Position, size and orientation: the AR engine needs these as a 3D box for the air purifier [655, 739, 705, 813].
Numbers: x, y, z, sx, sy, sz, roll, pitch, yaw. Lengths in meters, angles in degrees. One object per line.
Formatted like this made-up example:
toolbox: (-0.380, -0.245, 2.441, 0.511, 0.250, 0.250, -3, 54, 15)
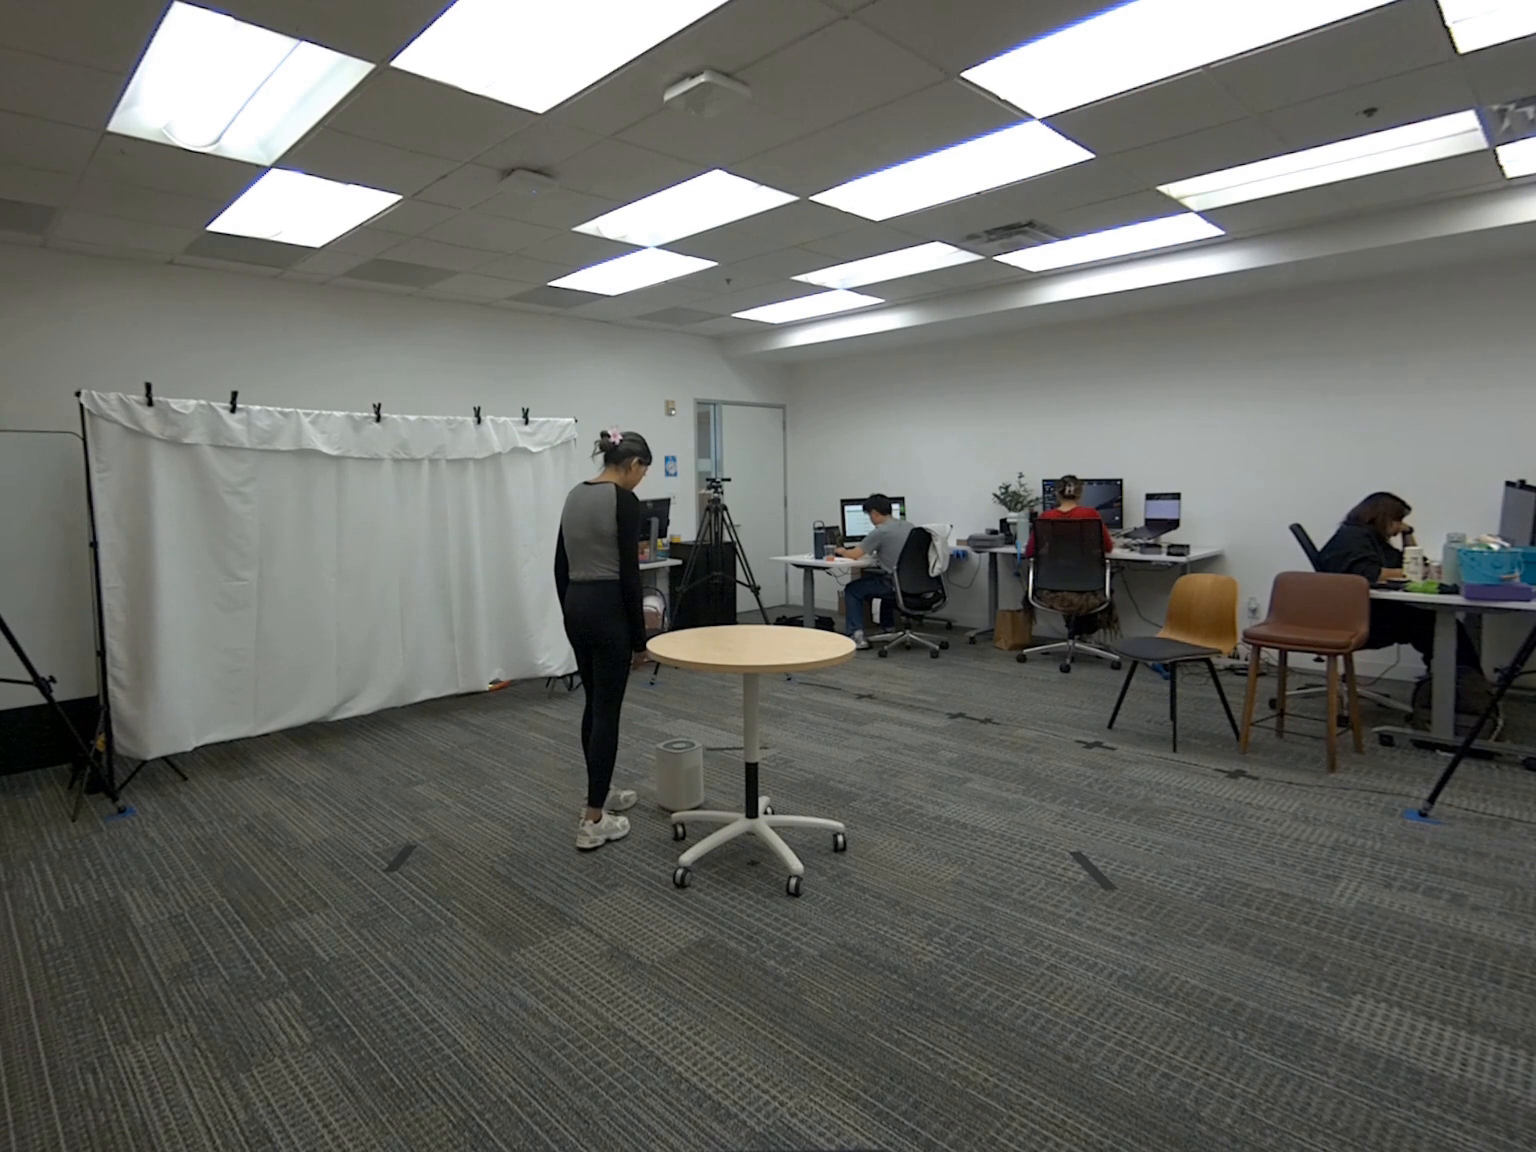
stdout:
air purifier: (-0.377, 0.854, 3.662, 0.176, 0.264, 0.167, 3, 6, 41)
